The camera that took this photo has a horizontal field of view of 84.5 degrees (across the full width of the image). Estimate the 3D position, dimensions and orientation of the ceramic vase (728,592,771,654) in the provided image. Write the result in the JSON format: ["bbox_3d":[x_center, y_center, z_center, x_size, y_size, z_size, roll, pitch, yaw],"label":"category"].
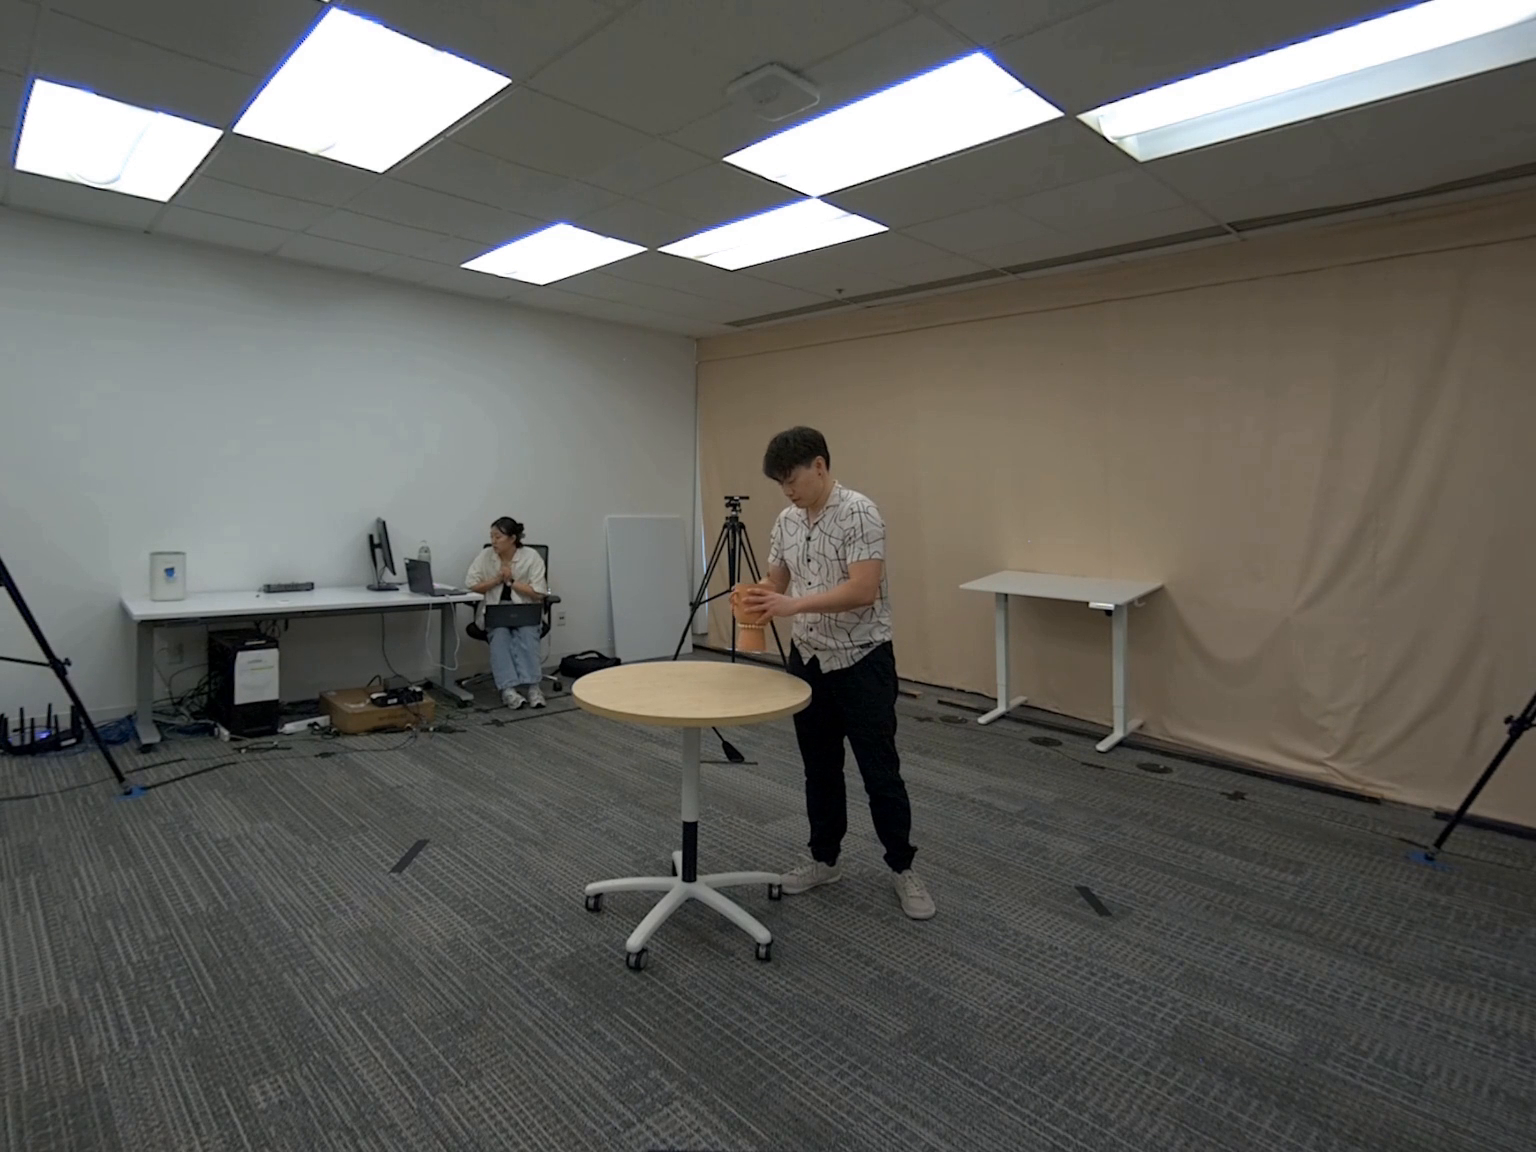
[{"bbox_3d":[-0.056,0.138,2.783,0.158,0.220,0.135,5,0,-2],"label":"ceramic vase"}]
